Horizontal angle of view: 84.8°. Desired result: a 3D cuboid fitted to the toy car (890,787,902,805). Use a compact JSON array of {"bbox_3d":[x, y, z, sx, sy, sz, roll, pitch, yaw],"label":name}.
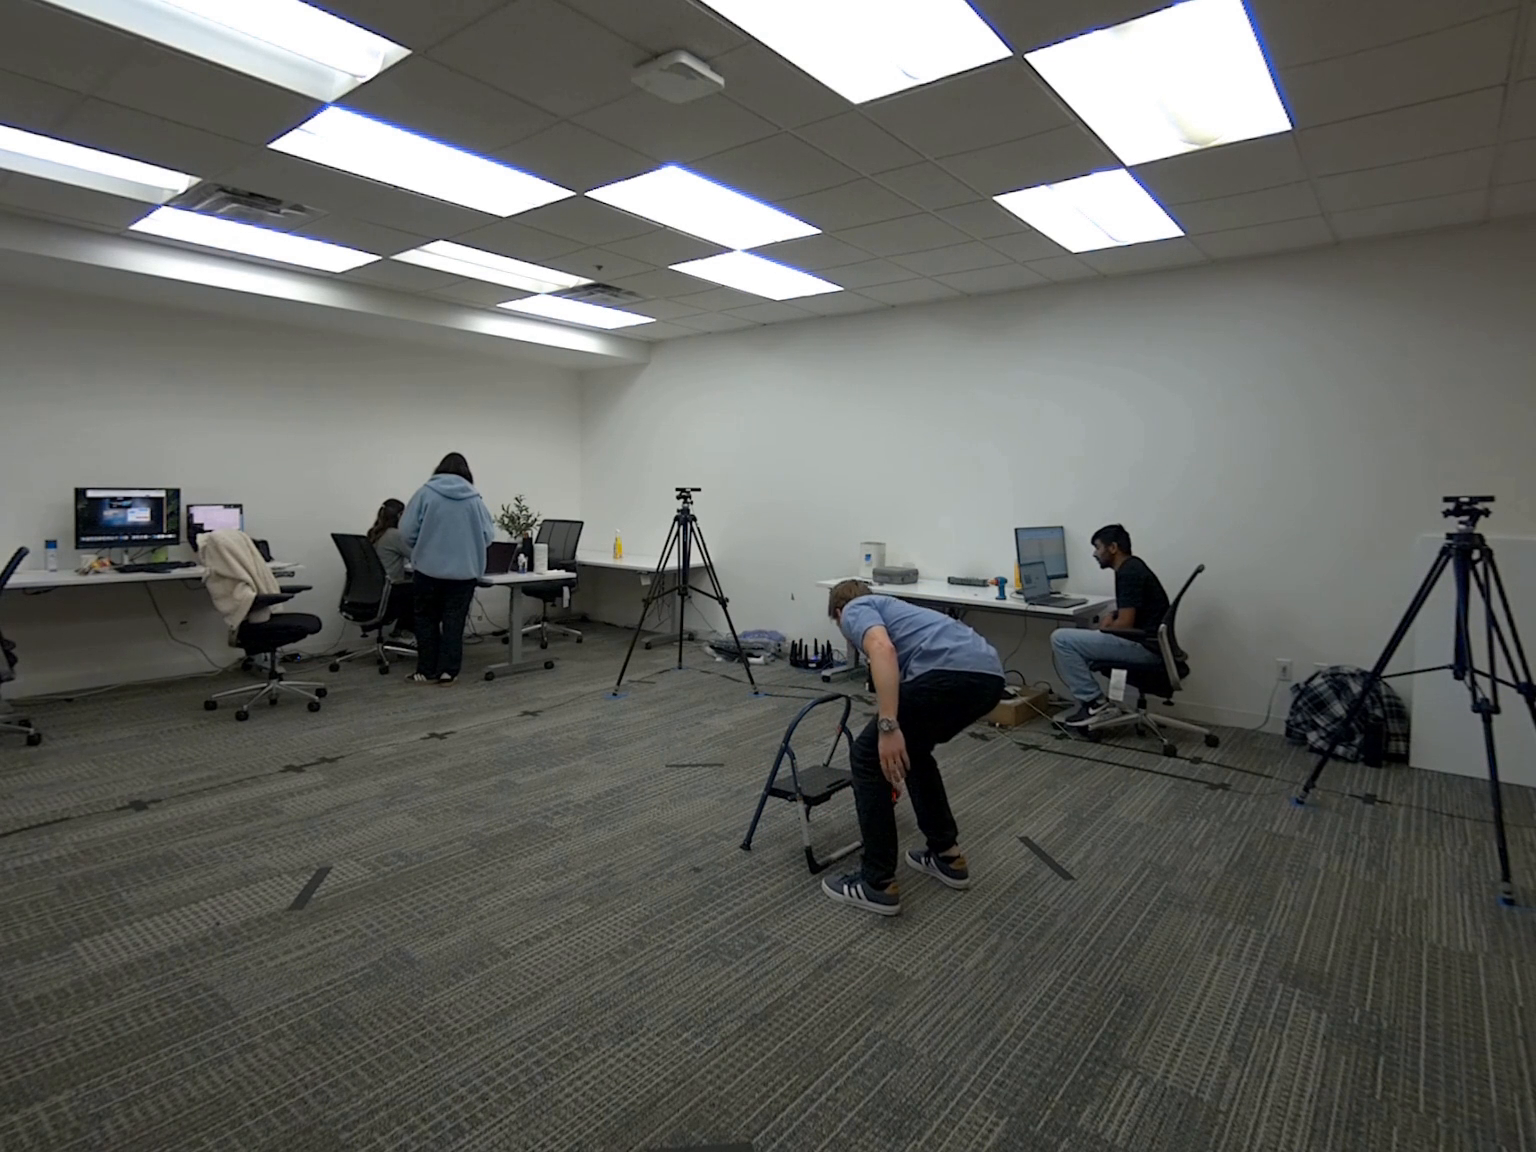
[{"bbox_3d":[0.476,0.901,3.595,0.133,0.083,0.249,8,-2,16],"label":"toy car"}]
